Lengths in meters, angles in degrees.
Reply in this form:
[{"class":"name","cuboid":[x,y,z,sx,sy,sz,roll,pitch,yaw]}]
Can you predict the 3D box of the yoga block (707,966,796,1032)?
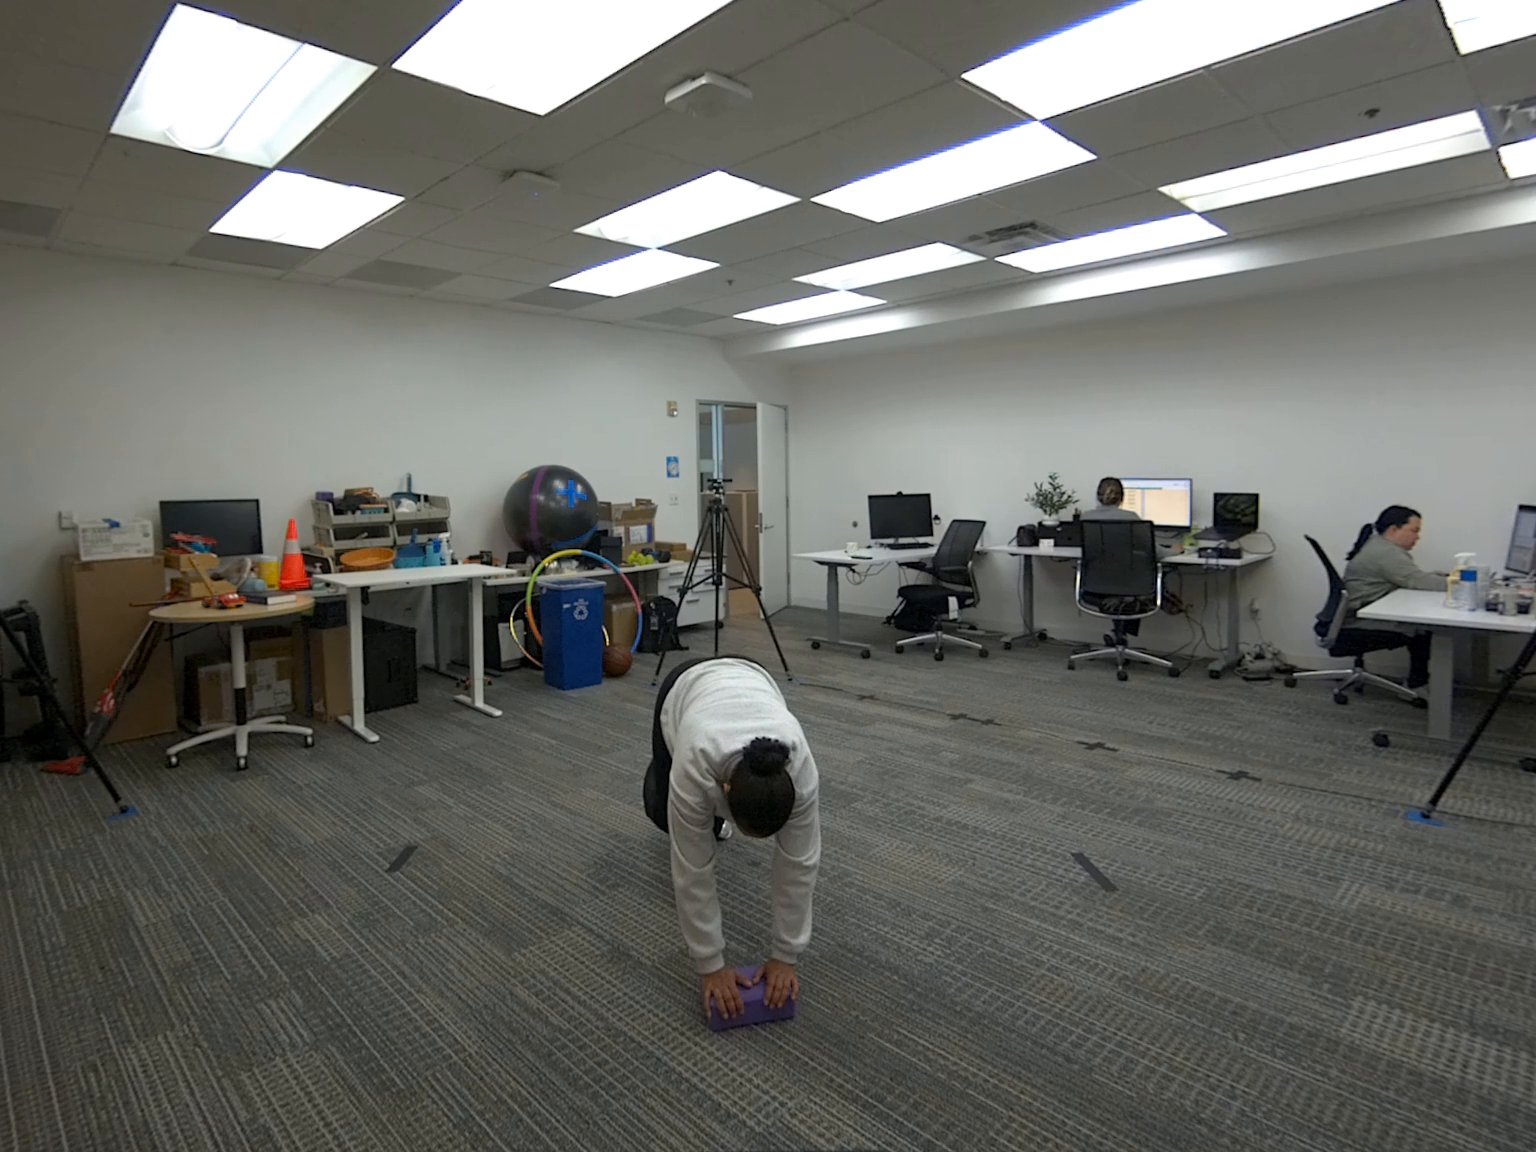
[{"class":"yoga block","cuboid":[-0.046,1.113,2.256,0.226,0.076,0.151,-1,5,-13]}]
